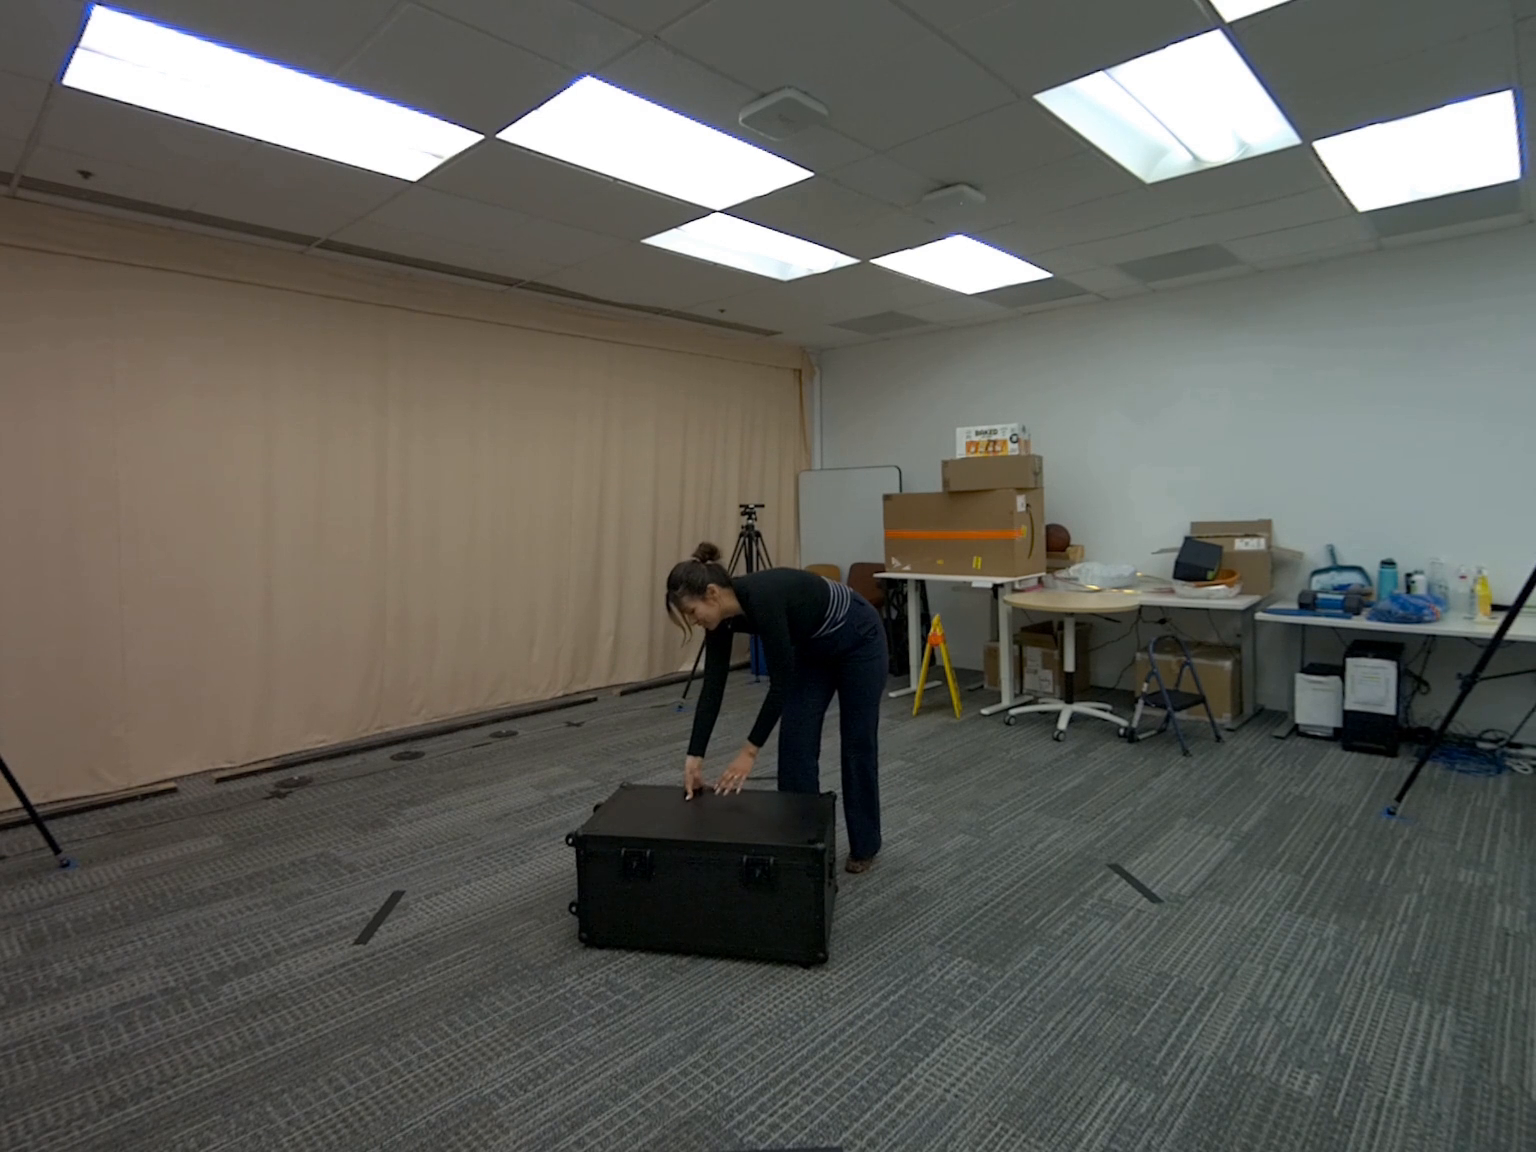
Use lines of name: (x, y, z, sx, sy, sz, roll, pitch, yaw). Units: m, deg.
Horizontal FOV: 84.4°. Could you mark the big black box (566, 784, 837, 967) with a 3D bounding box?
big black box: (-0.216, 0.965, 2.806, 0.873, 0.395, 0.516, 1, 4, 11)
